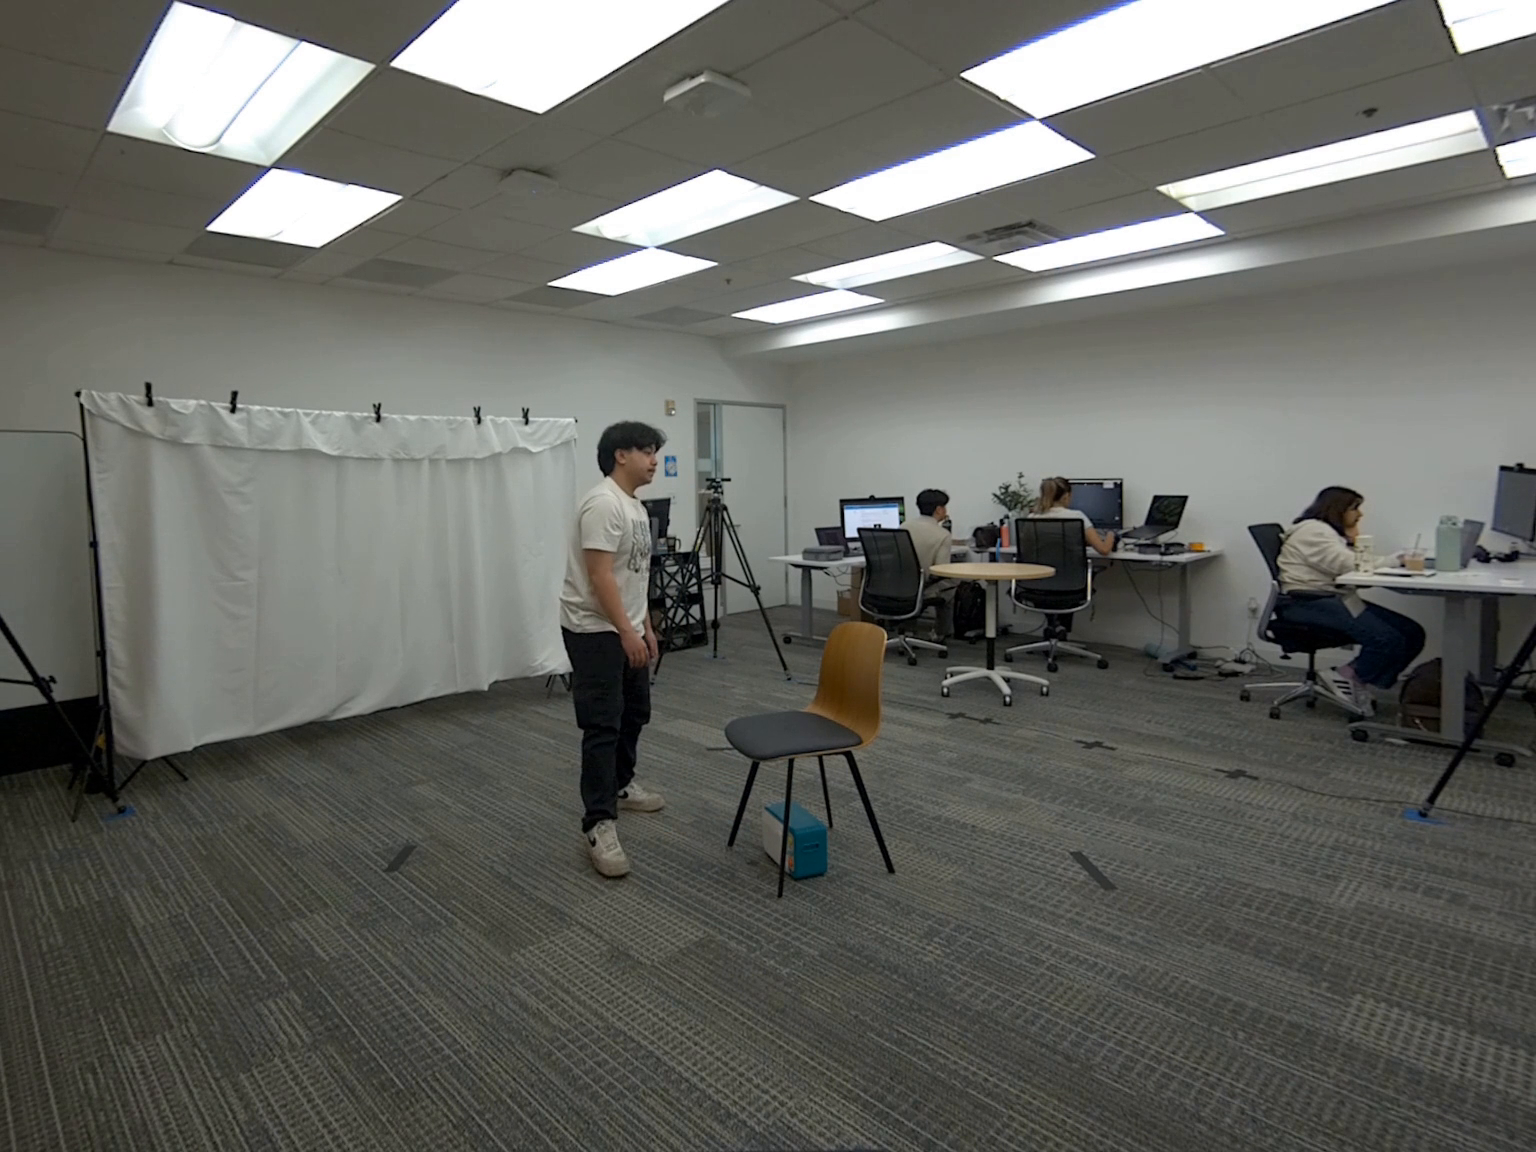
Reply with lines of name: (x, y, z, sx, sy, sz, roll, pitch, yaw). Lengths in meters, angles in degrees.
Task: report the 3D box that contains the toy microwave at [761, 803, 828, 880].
toy microwave: (0.088, 0.945, 3.083, 0.149, 0.183, 0.293, -3, 6, -23)
